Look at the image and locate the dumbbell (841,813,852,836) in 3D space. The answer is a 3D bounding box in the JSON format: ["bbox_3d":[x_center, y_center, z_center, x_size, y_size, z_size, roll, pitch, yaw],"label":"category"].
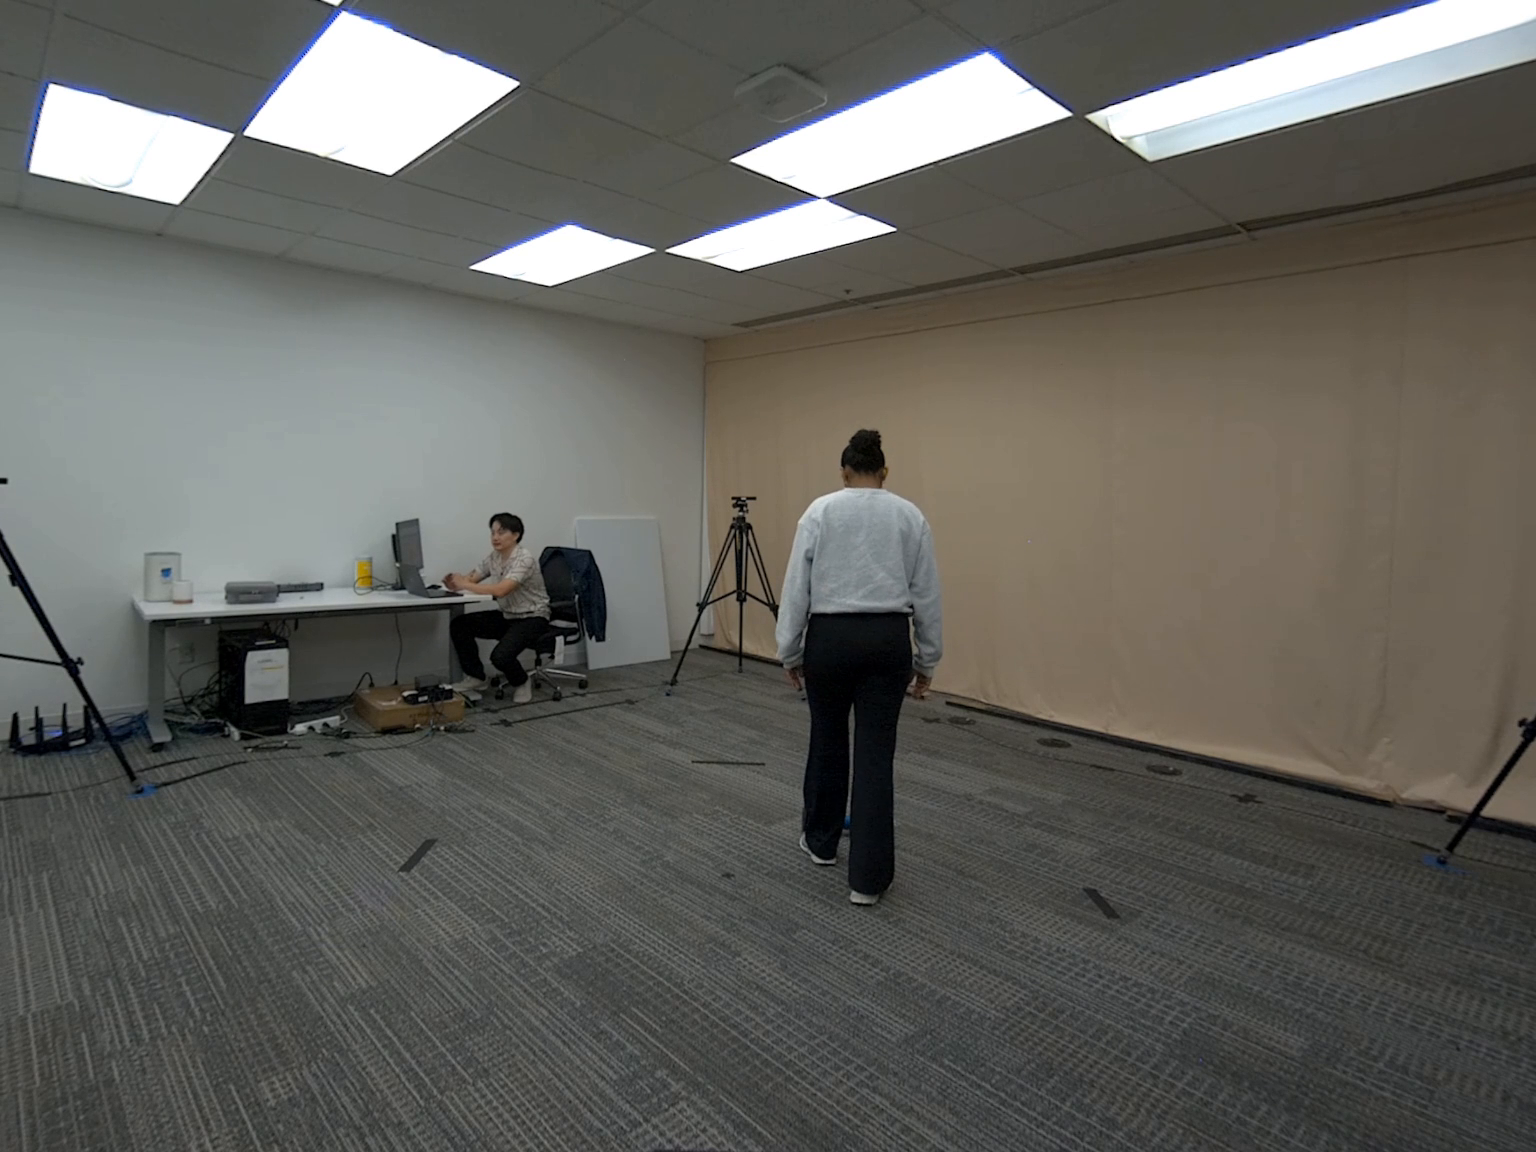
[{"bbox_3d":[0.287,1.032,3.515,0.293,0.120,0.111,2,33,0],"label":"dumbbell"}]
